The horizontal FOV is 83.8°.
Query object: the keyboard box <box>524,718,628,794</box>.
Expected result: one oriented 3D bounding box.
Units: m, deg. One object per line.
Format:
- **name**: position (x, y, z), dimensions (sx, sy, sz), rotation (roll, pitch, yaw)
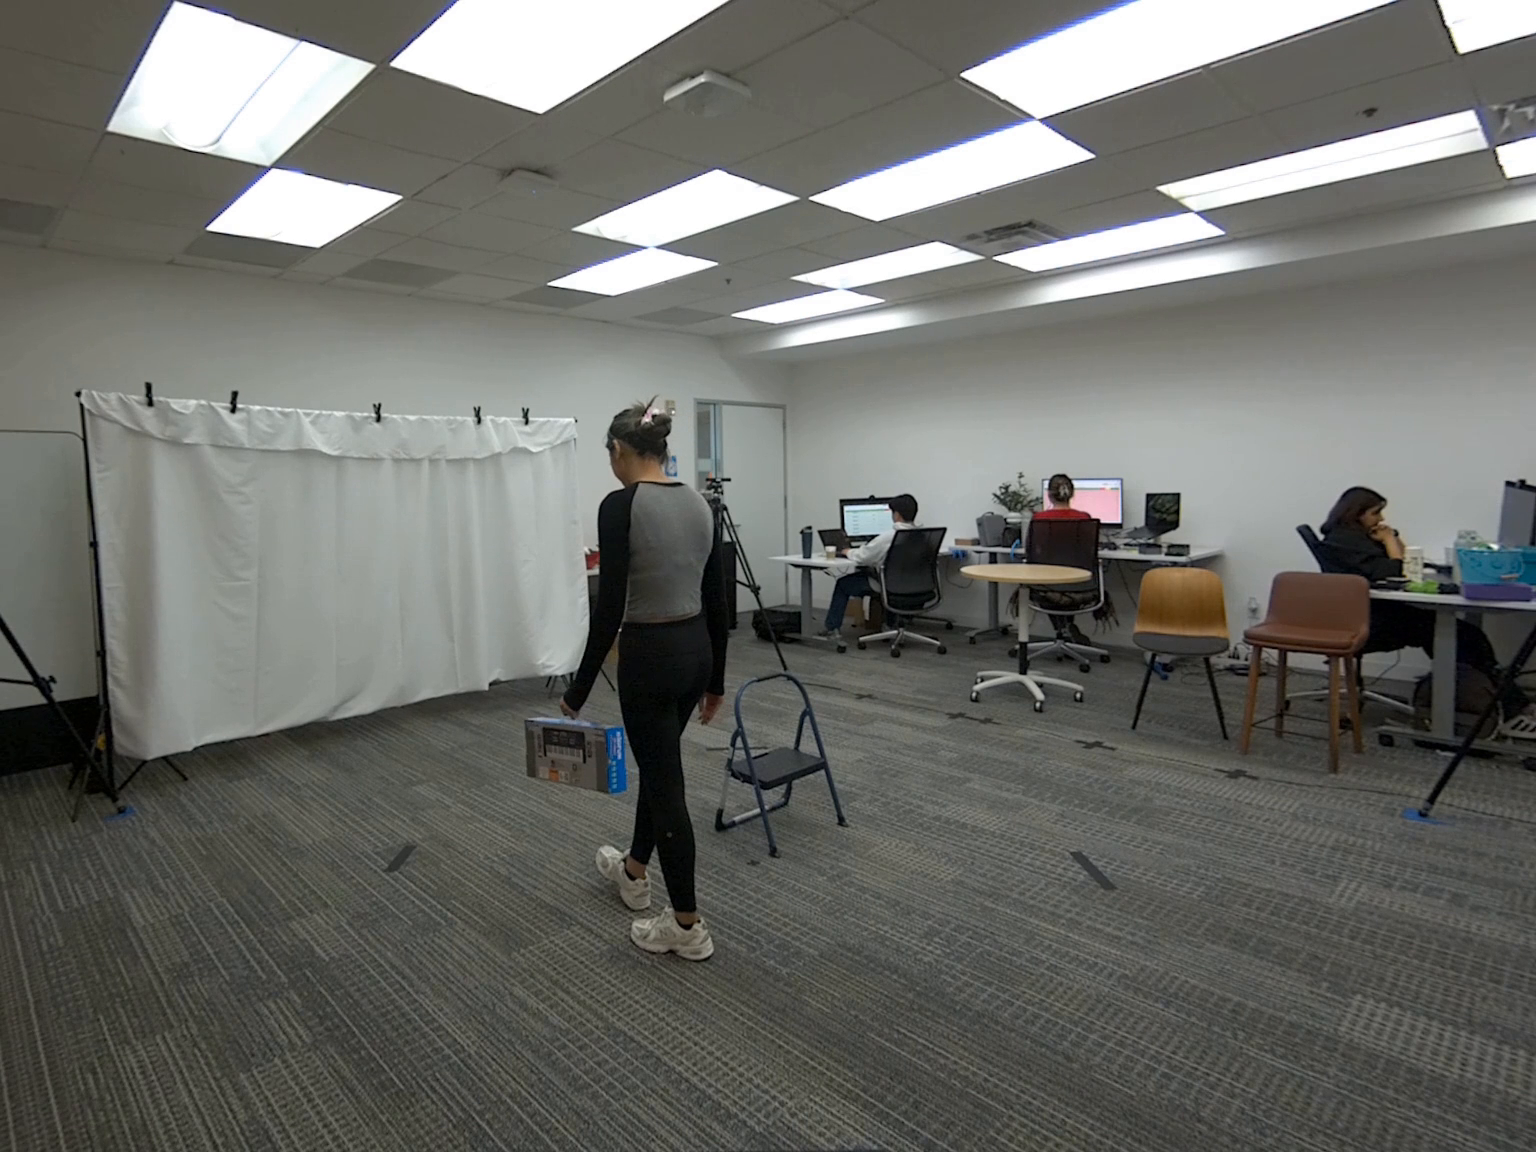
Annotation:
- **keyboard box**: position (-0.553, 0.506, 2.436), dimensions (0.057, 0.176, 0.448), rotation (0, -4, -44)
